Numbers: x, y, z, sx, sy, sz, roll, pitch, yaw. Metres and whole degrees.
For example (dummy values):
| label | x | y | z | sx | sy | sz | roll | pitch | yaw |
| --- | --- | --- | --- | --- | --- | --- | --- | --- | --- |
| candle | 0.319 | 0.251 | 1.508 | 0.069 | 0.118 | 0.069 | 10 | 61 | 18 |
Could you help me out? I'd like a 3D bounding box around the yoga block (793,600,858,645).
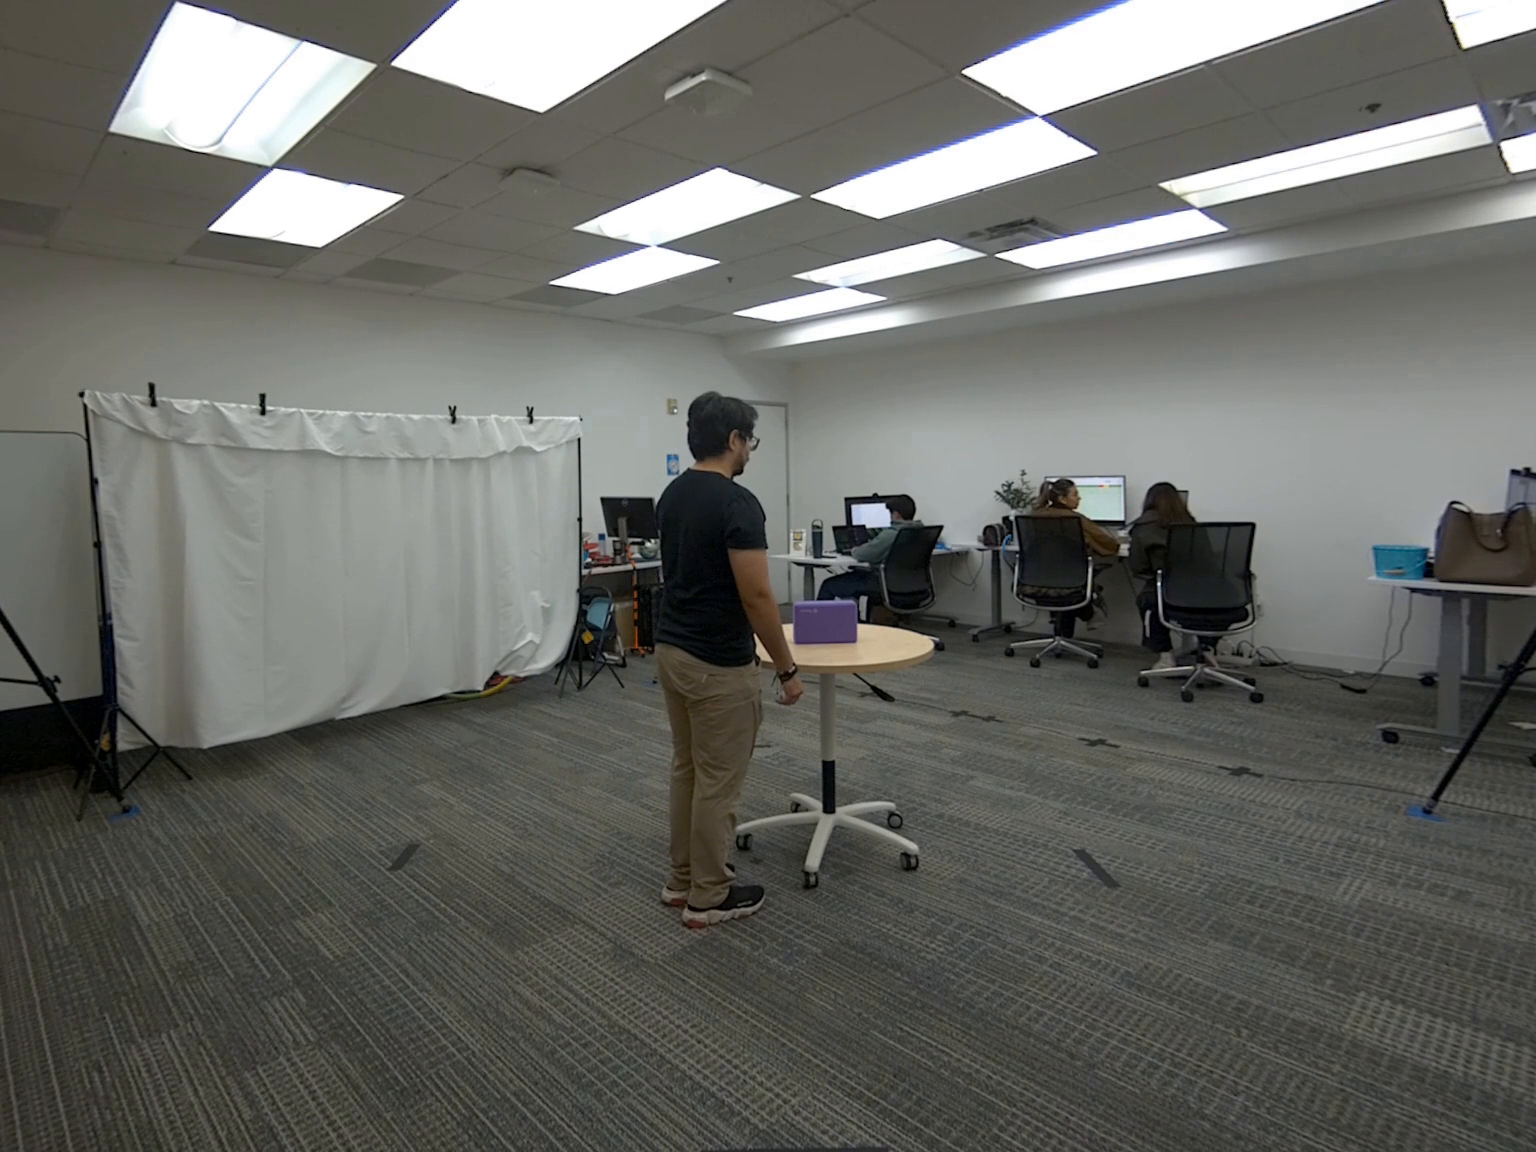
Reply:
| label | x | y | z | sx | sy | sz | roll | pitch | yaw |
| --- | --- | --- | --- | --- | --- | --- | --- | --- | --- |
| yoga block | 0.214 | 0.166 | 3.138 | 0.229 | 0.148 | 0.076 | -3 | 4 | 1 |
